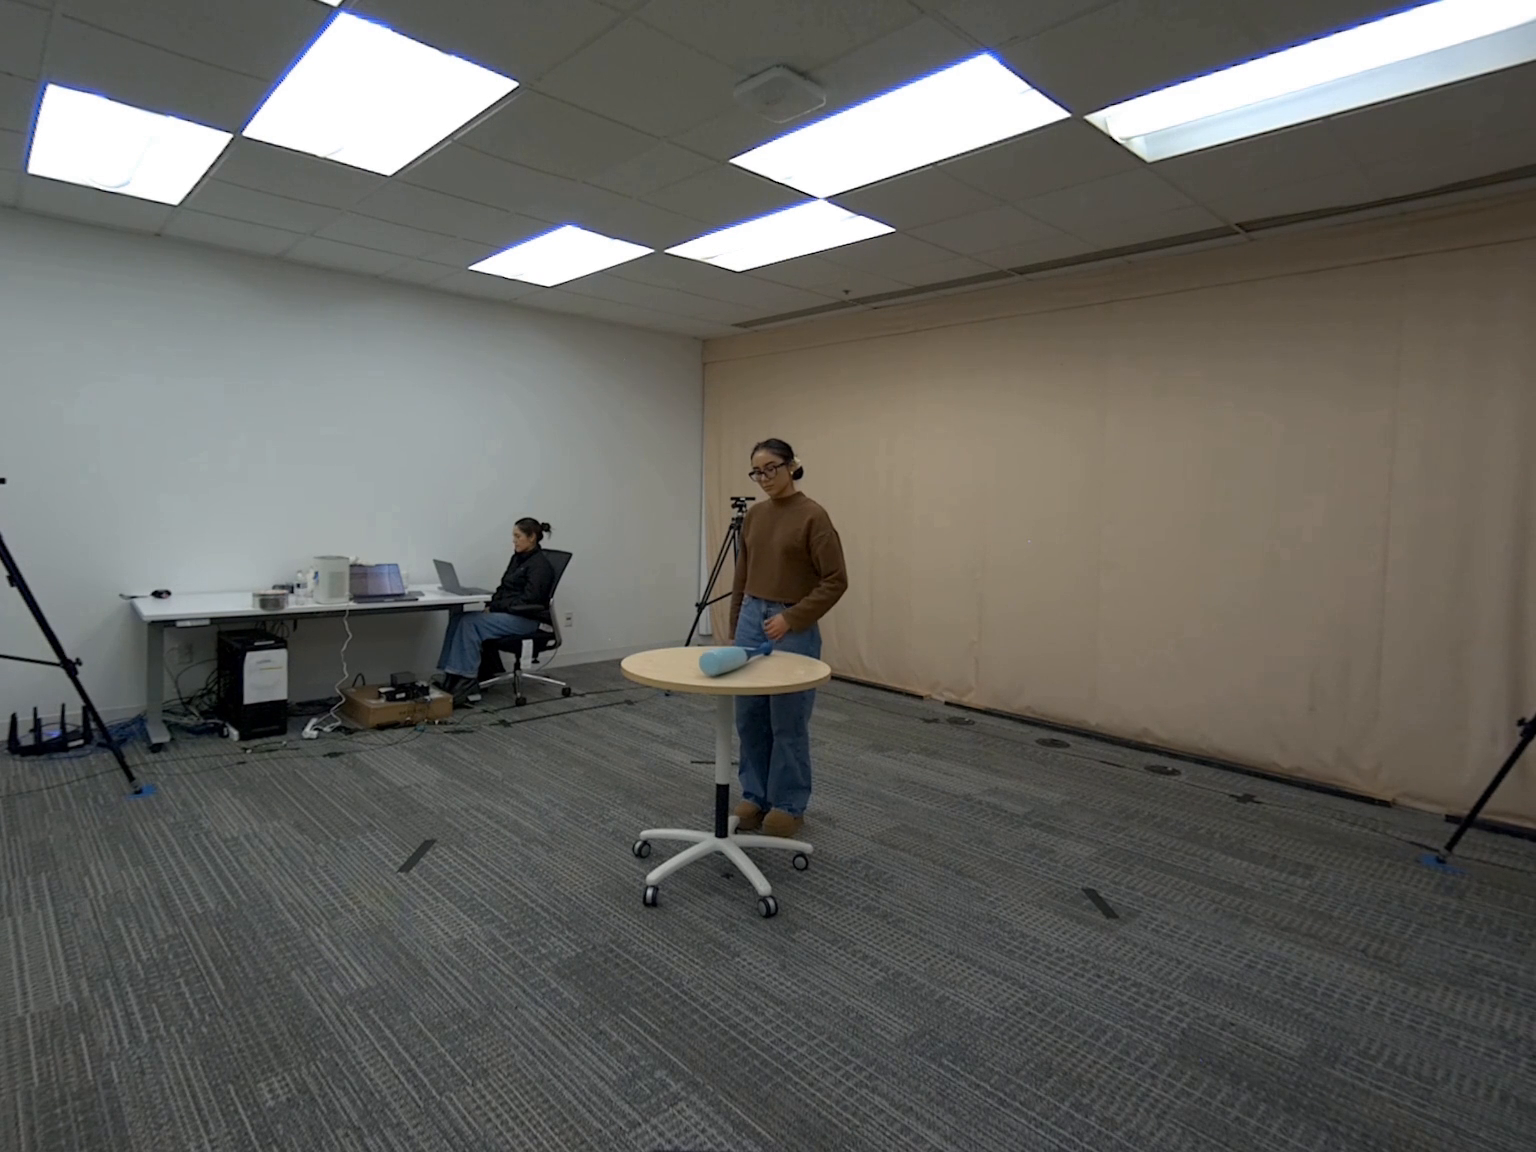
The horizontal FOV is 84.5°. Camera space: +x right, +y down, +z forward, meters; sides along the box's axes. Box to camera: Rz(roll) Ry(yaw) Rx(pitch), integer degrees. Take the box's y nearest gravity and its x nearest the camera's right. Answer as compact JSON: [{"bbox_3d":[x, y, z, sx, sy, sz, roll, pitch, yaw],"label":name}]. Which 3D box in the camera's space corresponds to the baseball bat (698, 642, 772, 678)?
[{"bbox_3d":[-0.110,0.295,3.061,0.090,0.089,0.534,3,2,19],"label":"baseball bat"}]
